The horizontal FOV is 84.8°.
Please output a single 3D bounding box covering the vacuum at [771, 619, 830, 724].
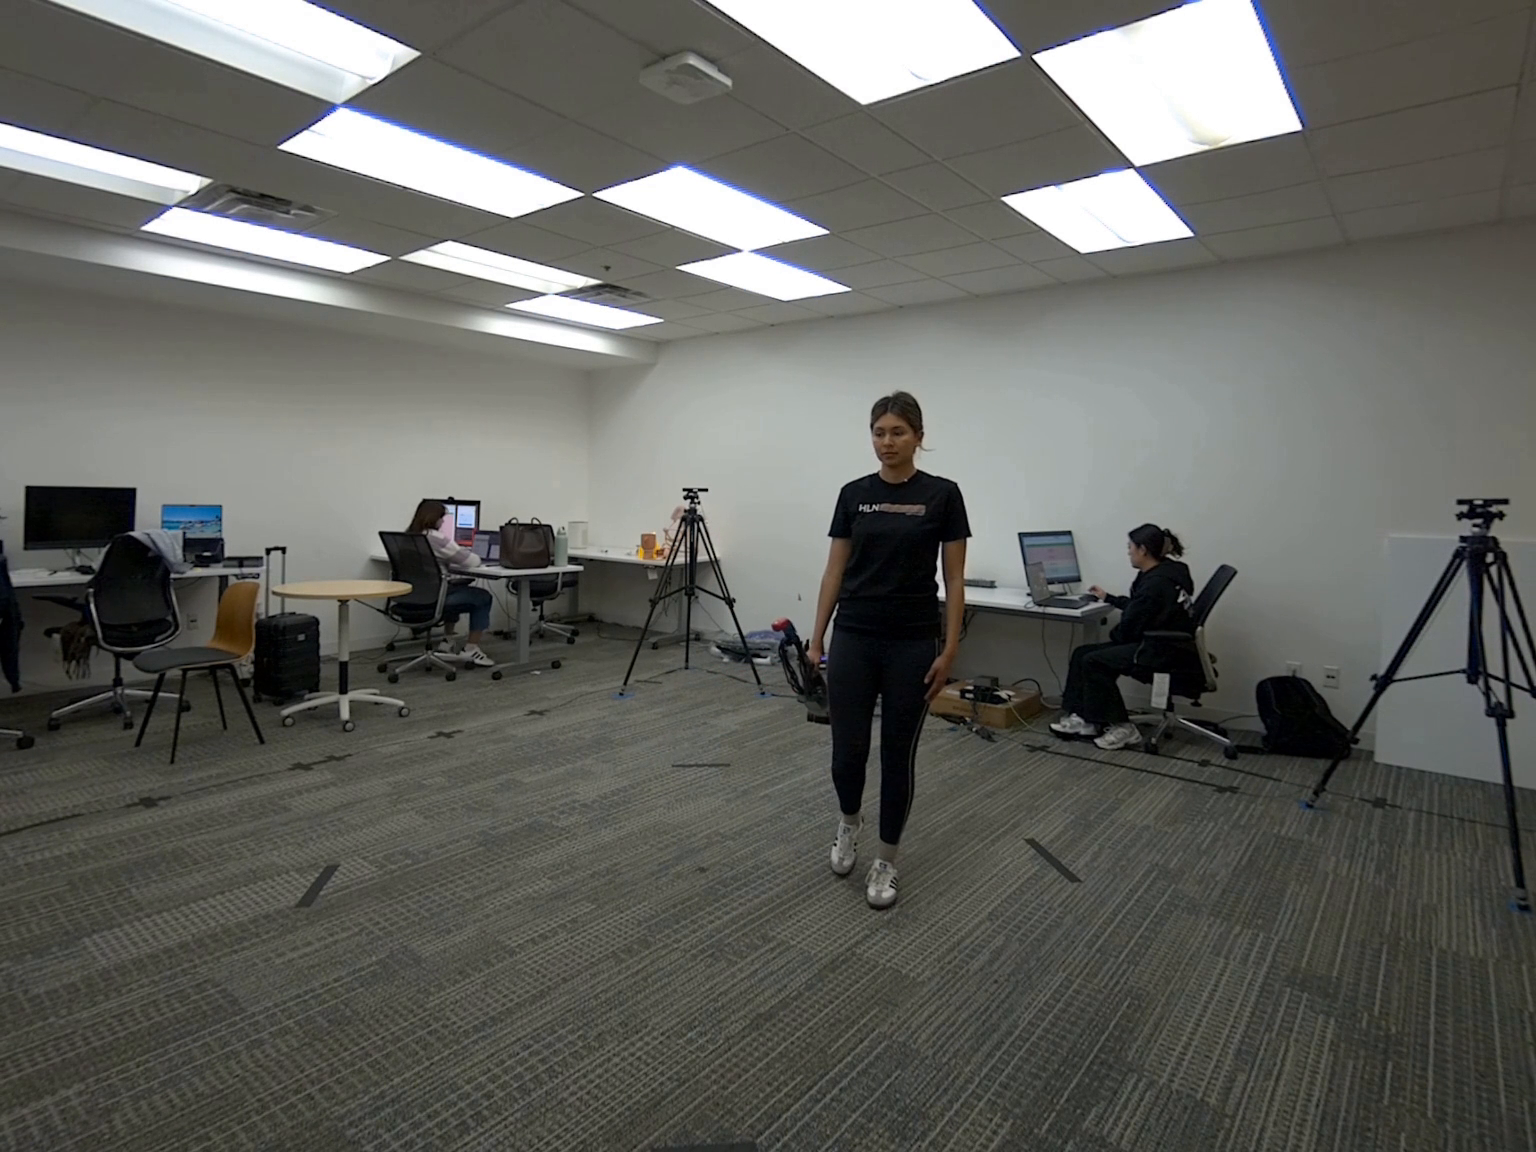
[{"bbox_3d":[0.107,0.339,2.927,0.257,0.146,1.014,2,-22,15],"label":"vacuum"}]
